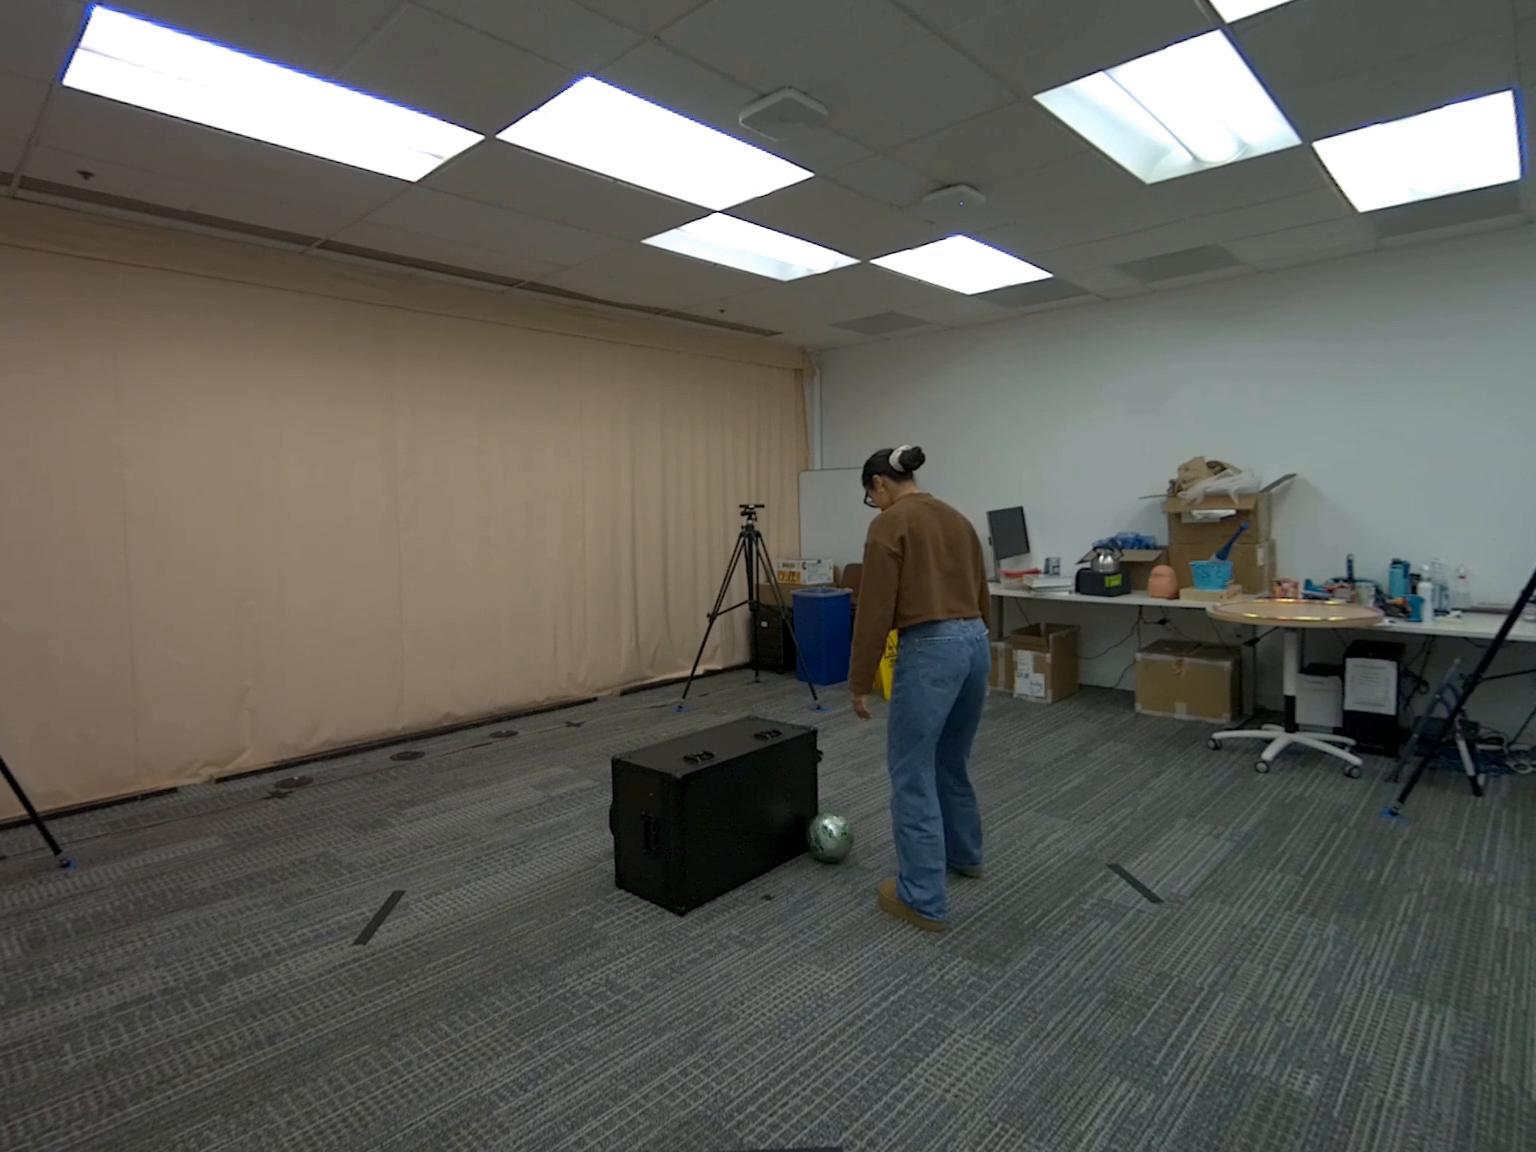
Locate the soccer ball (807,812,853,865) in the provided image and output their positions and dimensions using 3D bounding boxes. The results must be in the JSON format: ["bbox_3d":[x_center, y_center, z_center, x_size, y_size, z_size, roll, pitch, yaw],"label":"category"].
[{"bbox_3d":[0.260,1.018,3.258,0.187,0.187,0.188,-1,4,-2],"label":"soccer ball"}]
